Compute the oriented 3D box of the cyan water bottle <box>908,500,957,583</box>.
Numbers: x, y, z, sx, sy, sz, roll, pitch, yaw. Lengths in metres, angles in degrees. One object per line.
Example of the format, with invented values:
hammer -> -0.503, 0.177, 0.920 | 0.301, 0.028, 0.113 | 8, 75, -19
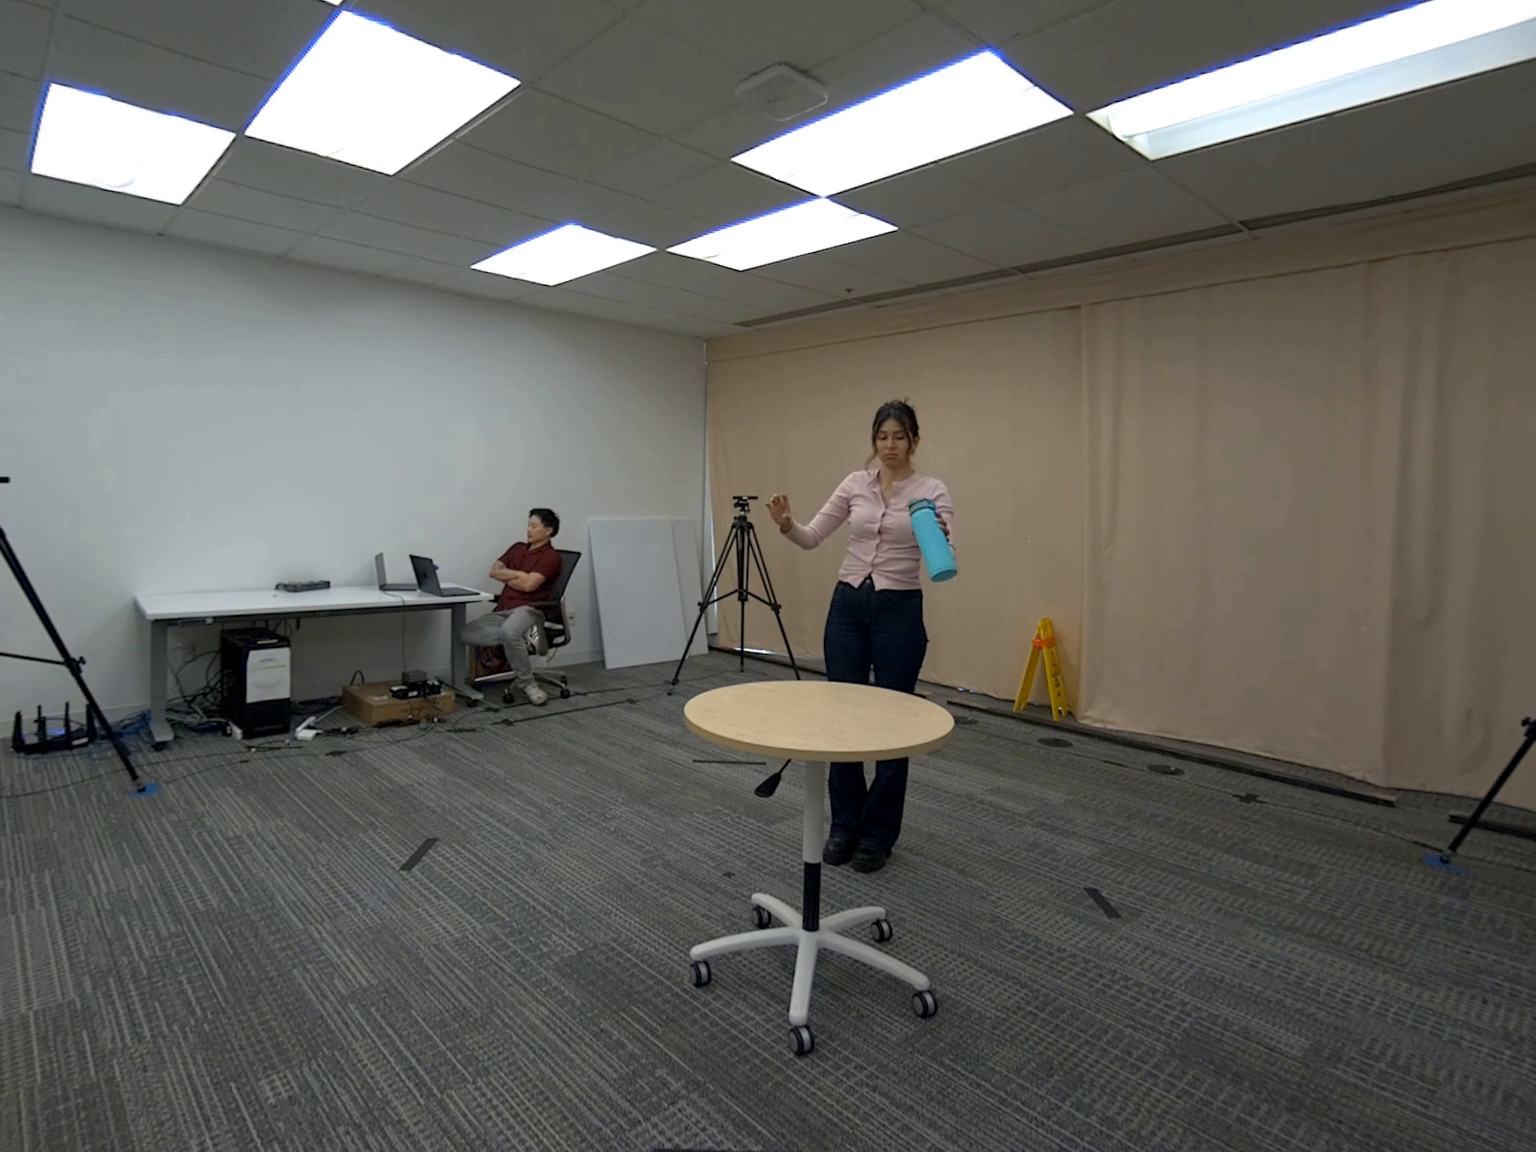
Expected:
cyan water bottle -> 0.516, -0.122, 2.711 | 0.092, 0.289, 0.091 | -7, -27, -5
